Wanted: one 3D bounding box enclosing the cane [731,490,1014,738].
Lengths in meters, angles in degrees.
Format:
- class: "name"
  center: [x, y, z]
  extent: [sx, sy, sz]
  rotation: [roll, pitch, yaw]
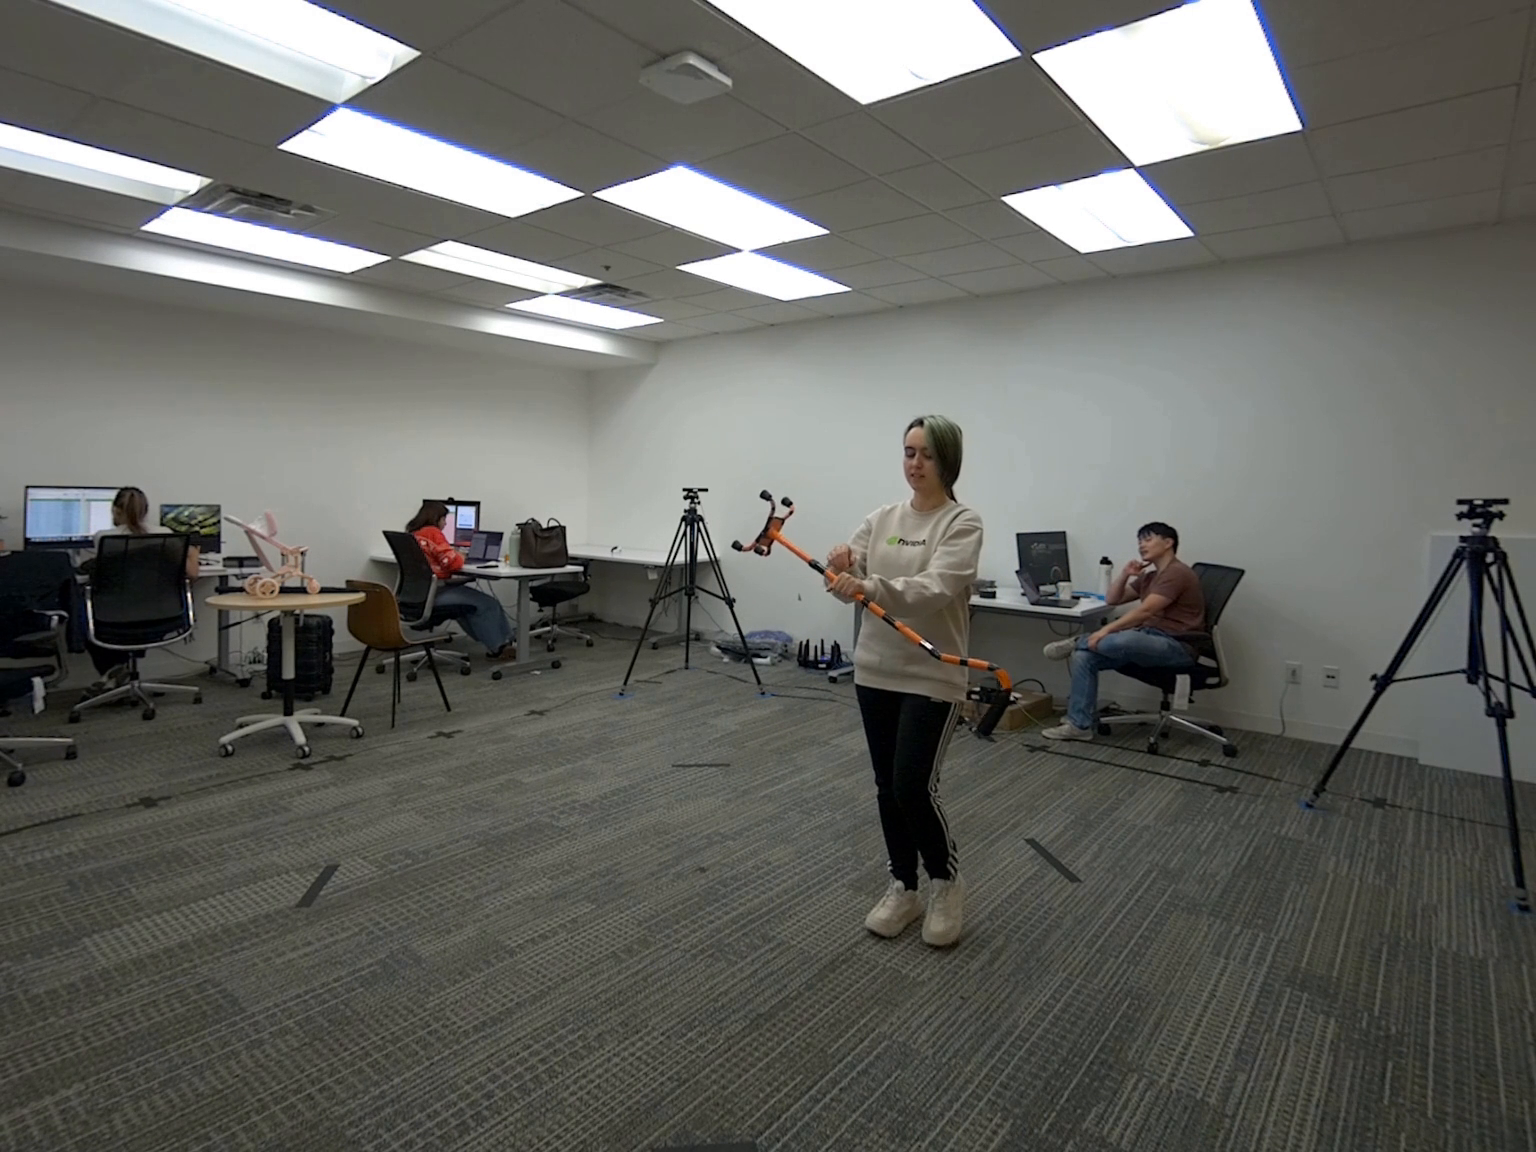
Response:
- class: "cane"
  center: [0.280, 0.082, 2.356]
  extent: [0.944, 0.205, 0.146]
  rotation: [39, 18, 32]
